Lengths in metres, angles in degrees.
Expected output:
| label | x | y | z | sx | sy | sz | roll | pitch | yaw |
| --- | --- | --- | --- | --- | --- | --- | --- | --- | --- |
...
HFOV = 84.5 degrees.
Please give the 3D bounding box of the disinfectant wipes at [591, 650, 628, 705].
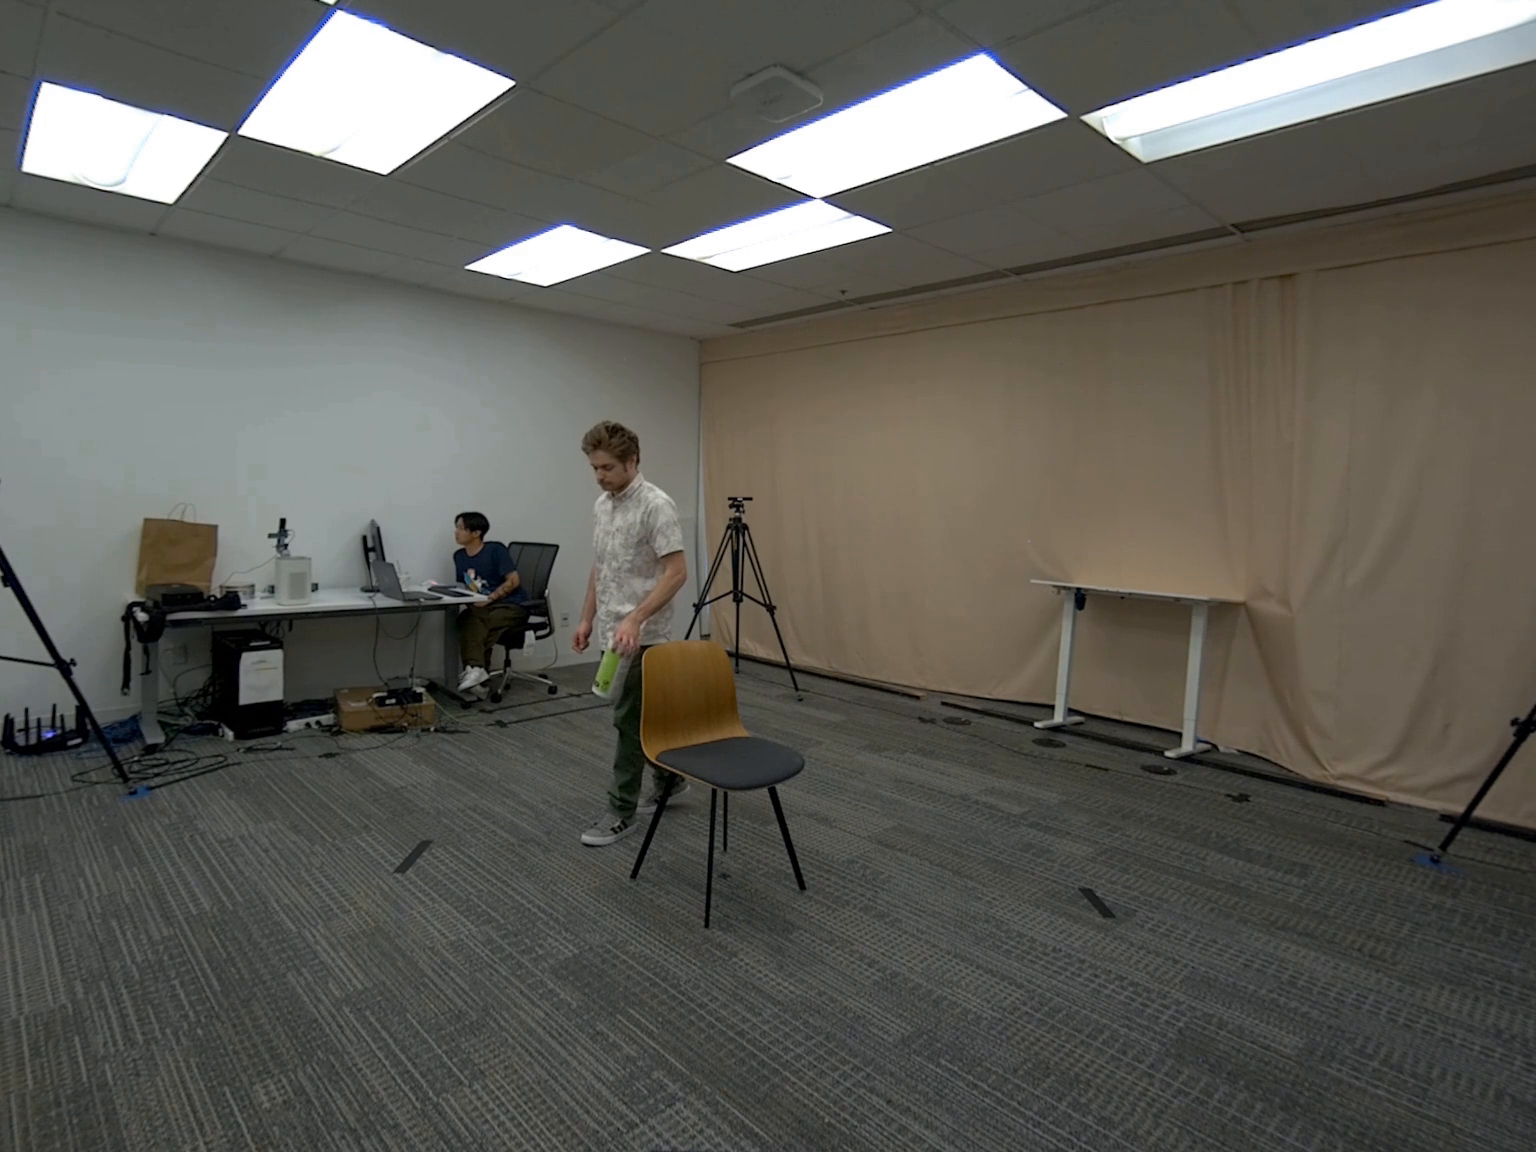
| label | x | y | z | sx | sy | sz | roll | pitch | yaw |
| --- | --- | --- | --- | --- | --- | --- | --- | --- | --- |
| disinfectant wipes | -0.575 | 0.356 | 3.209 | 0.117 | 0.217 | 0.118 | 18 | 8 | -4 |
